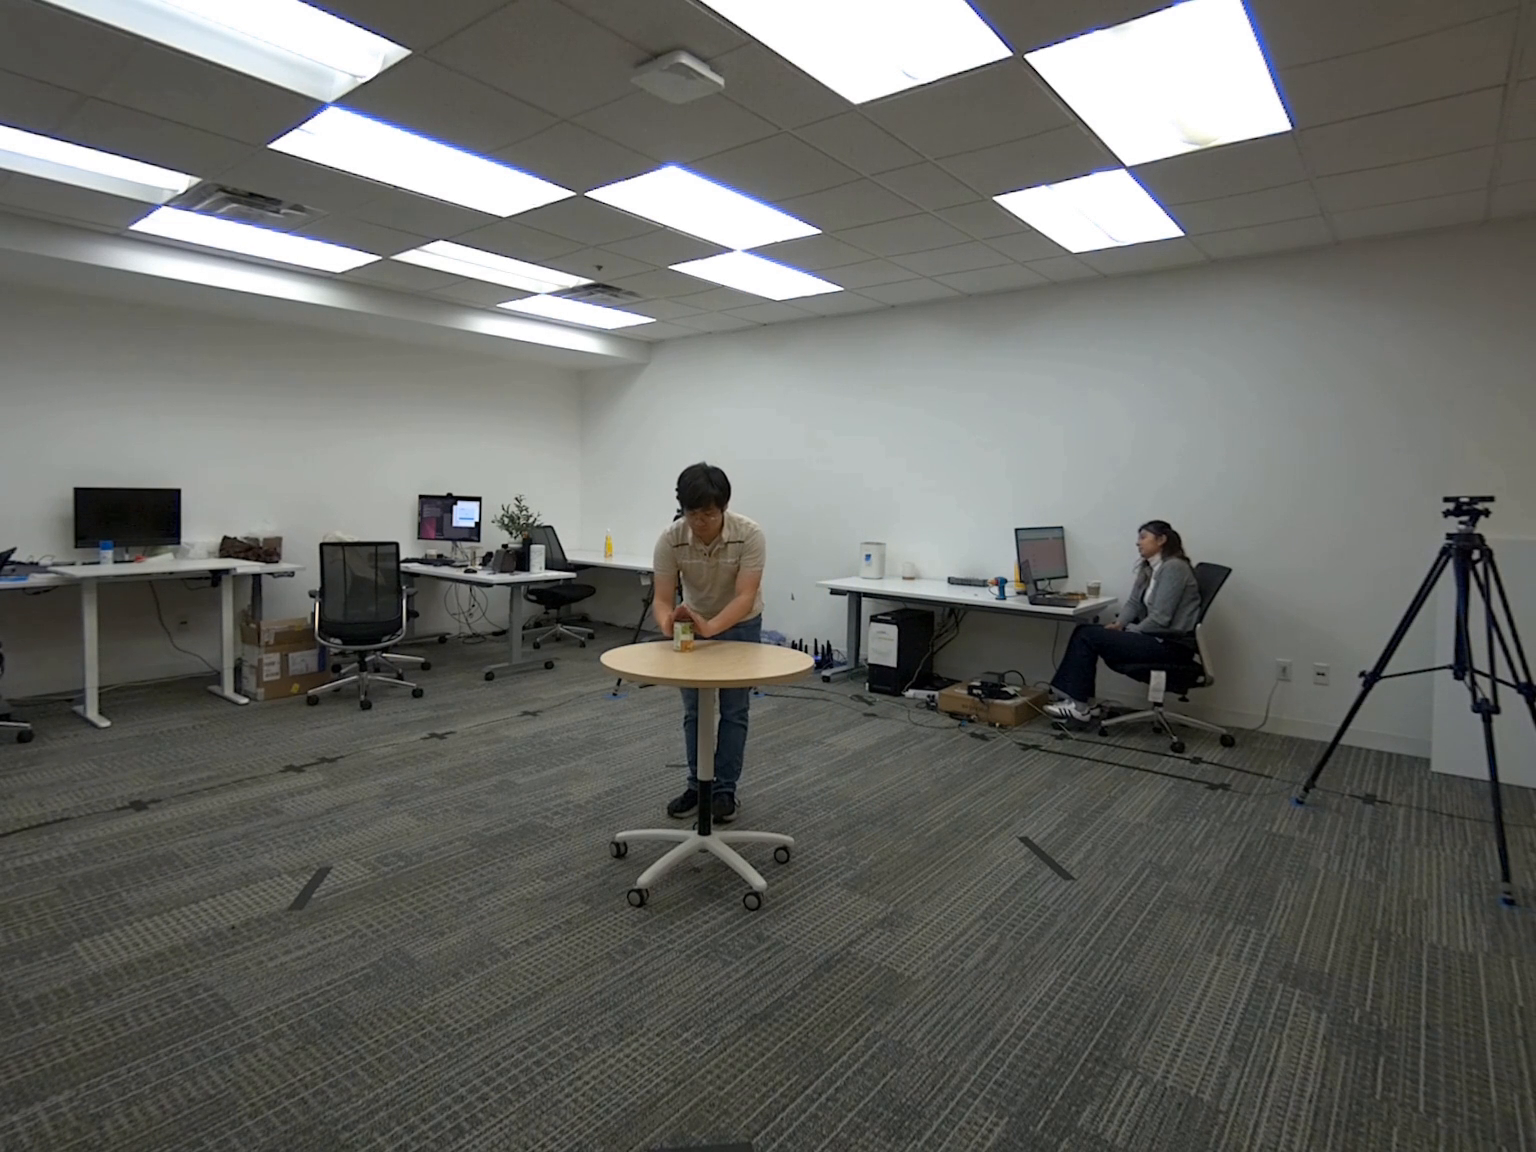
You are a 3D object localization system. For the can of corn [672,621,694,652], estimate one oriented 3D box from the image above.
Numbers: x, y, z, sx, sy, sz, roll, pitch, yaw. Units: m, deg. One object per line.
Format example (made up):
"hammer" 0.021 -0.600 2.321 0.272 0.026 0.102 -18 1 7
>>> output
"can of corn" -0.331 0.220 3.204 0.074 0.111 0.074 2 1 -2
